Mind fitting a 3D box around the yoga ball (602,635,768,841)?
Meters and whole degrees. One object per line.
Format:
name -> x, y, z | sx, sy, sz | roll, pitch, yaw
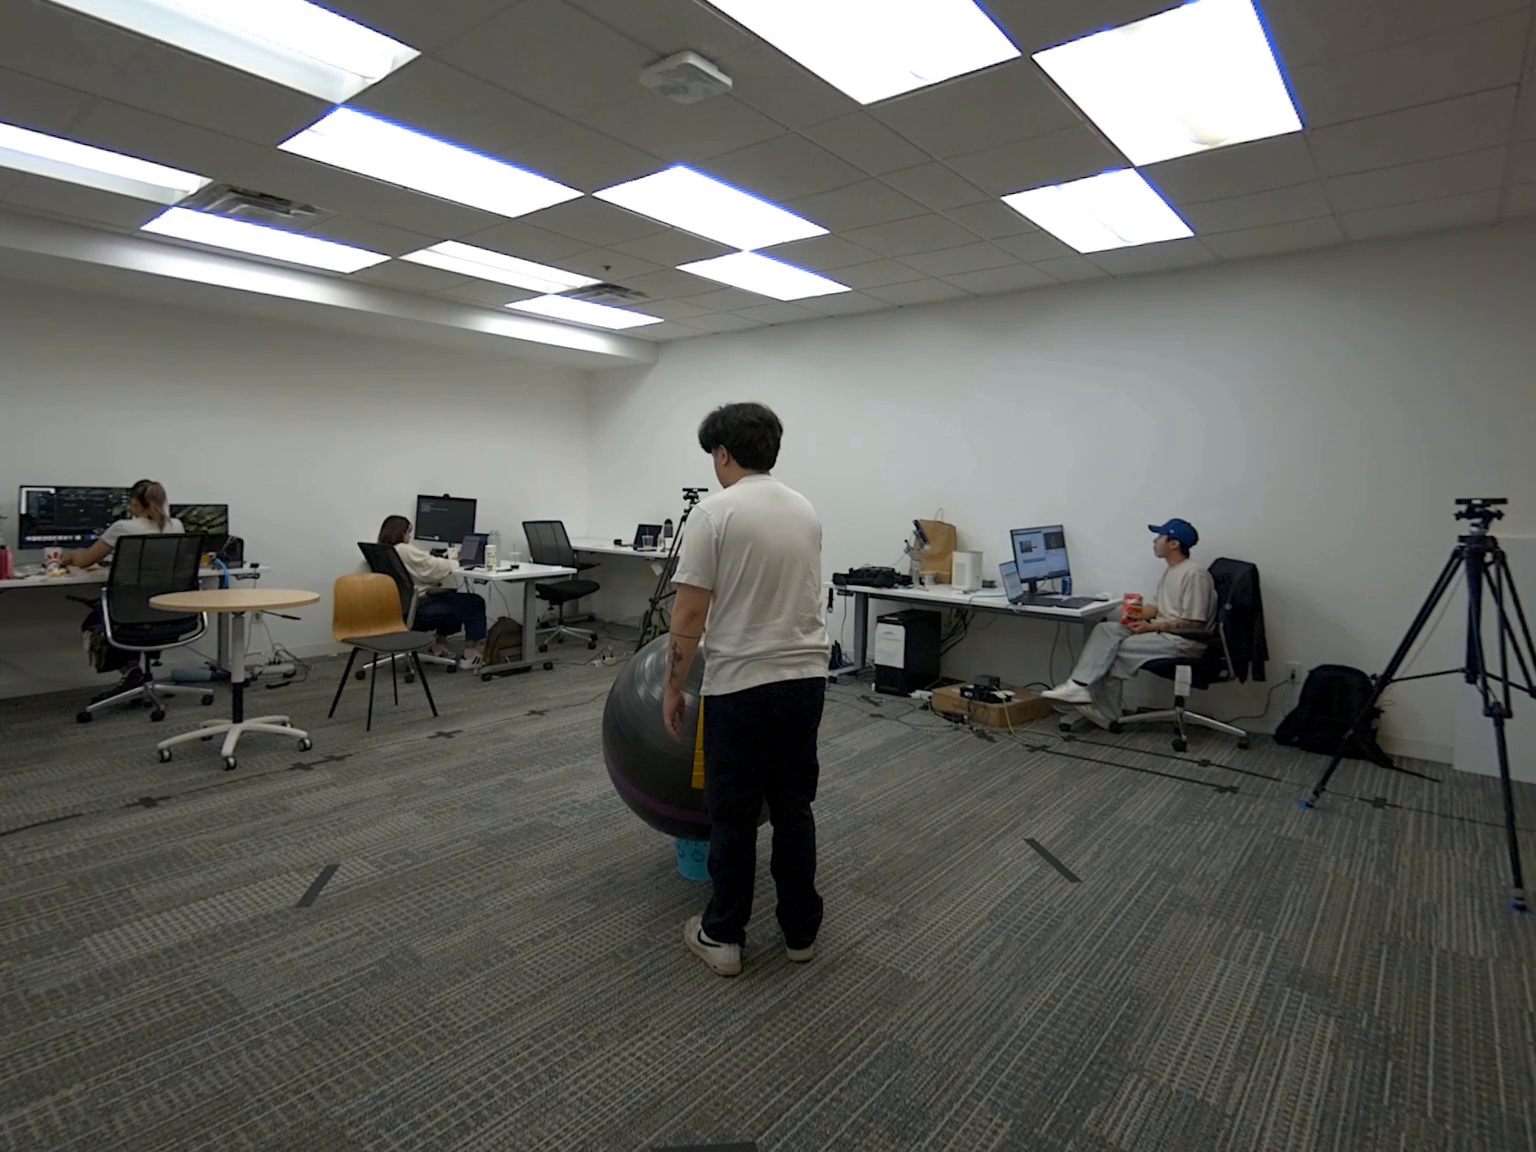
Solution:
yoga ball -> -0.227, 0.562, 3.091 | 0.757, 0.756, 0.761 | 1, 4, -2
